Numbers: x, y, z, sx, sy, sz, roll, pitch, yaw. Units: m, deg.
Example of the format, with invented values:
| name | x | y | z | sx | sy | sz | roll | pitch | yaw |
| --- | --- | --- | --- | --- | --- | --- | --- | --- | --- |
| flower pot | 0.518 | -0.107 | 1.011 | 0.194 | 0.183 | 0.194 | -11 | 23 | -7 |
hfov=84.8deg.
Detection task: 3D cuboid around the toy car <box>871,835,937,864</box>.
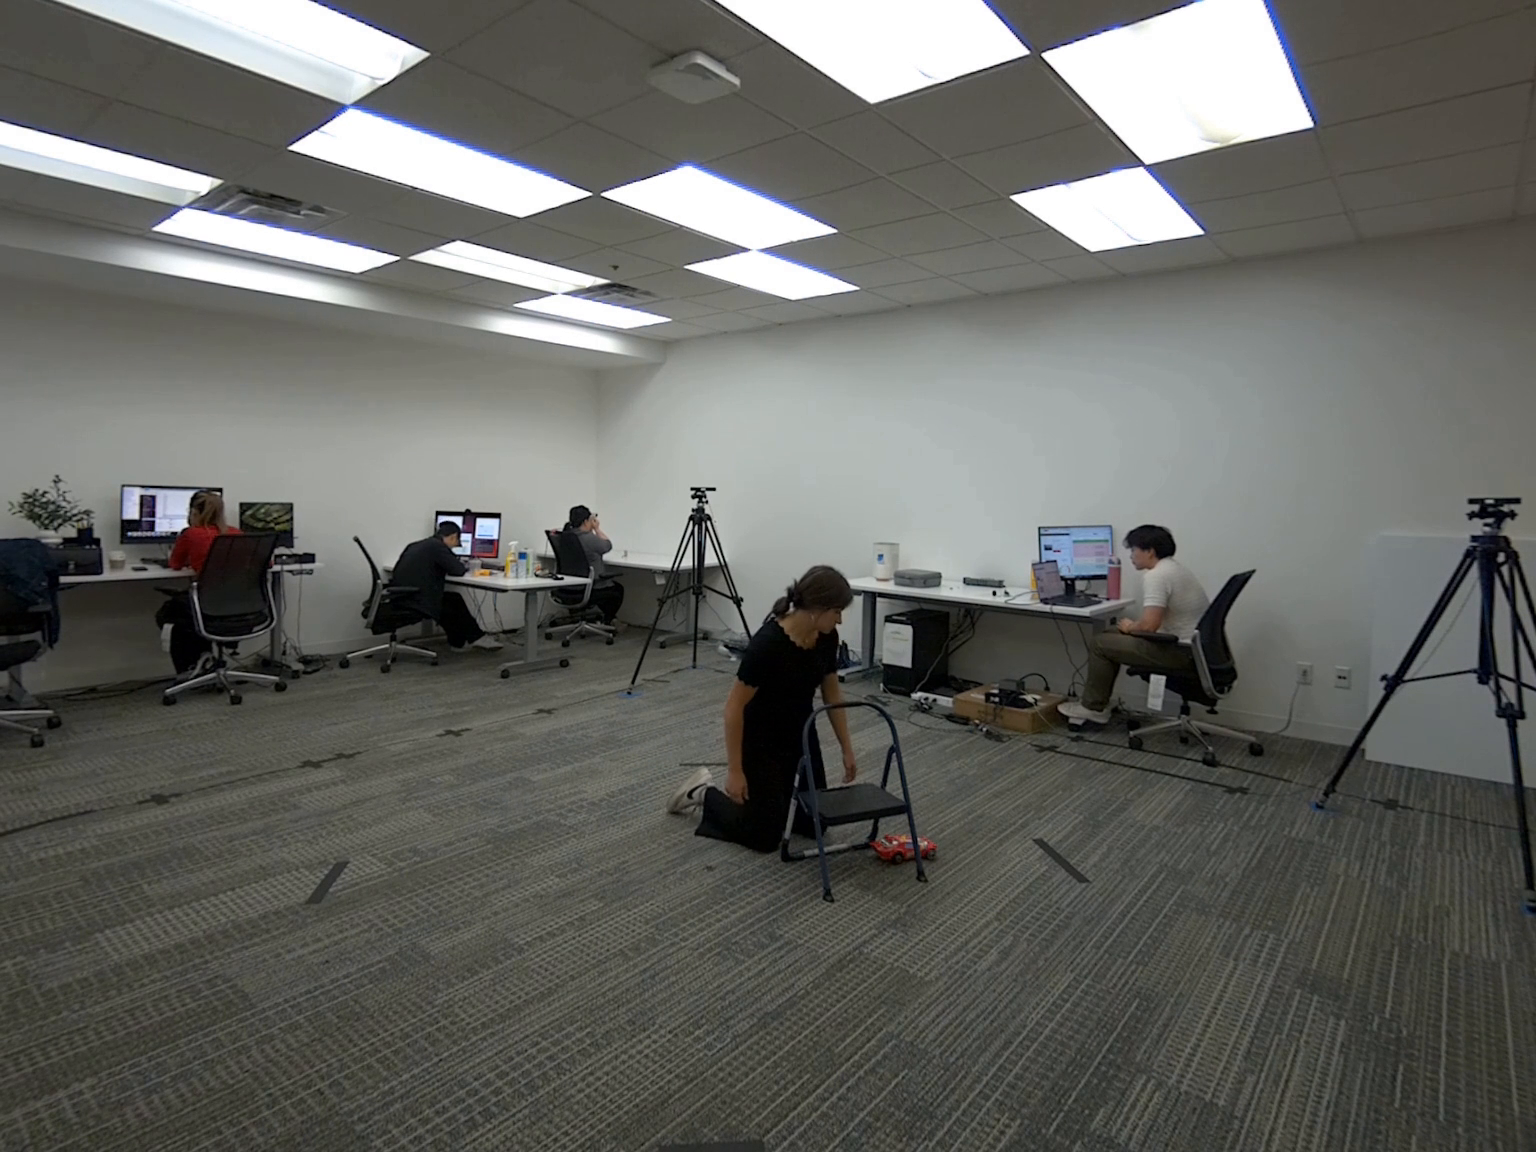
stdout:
| name | x | y | z | sx | sy | sz | roll | pitch | yaw |
| --- | --- | --- | --- | --- | --- | --- | --- | --- | --- |
| toy car | 0.508 | 1.040 | 3.244 | 0.249 | 0.083 | 0.133 | 11 | 2 | -19 |
